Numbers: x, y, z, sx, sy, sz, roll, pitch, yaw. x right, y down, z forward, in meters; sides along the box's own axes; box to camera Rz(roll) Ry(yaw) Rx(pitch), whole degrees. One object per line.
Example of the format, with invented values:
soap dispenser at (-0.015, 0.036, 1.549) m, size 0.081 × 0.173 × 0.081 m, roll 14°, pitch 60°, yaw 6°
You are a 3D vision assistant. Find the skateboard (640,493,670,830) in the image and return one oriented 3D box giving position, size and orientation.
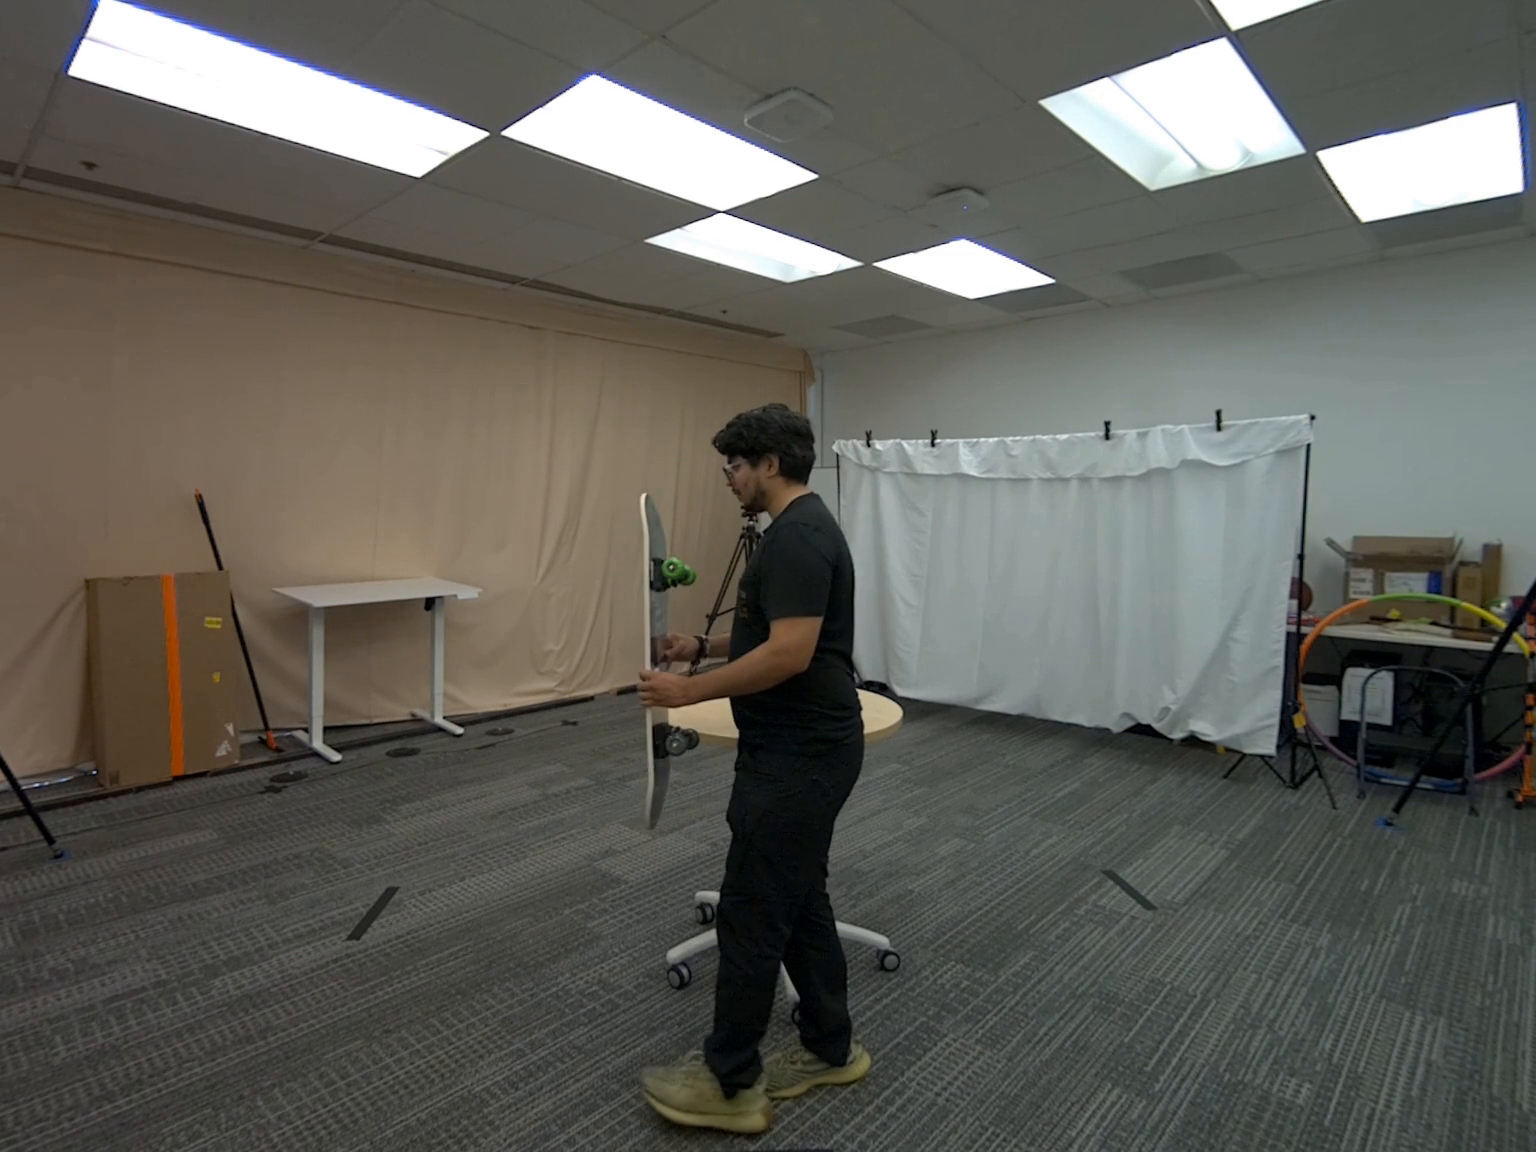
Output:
skateboard at (-0.236, 0.192, 1.962) m, size 0.111 × 0.790 × 0.191 m, roll -3°, pitch -8°, yaw 4°
